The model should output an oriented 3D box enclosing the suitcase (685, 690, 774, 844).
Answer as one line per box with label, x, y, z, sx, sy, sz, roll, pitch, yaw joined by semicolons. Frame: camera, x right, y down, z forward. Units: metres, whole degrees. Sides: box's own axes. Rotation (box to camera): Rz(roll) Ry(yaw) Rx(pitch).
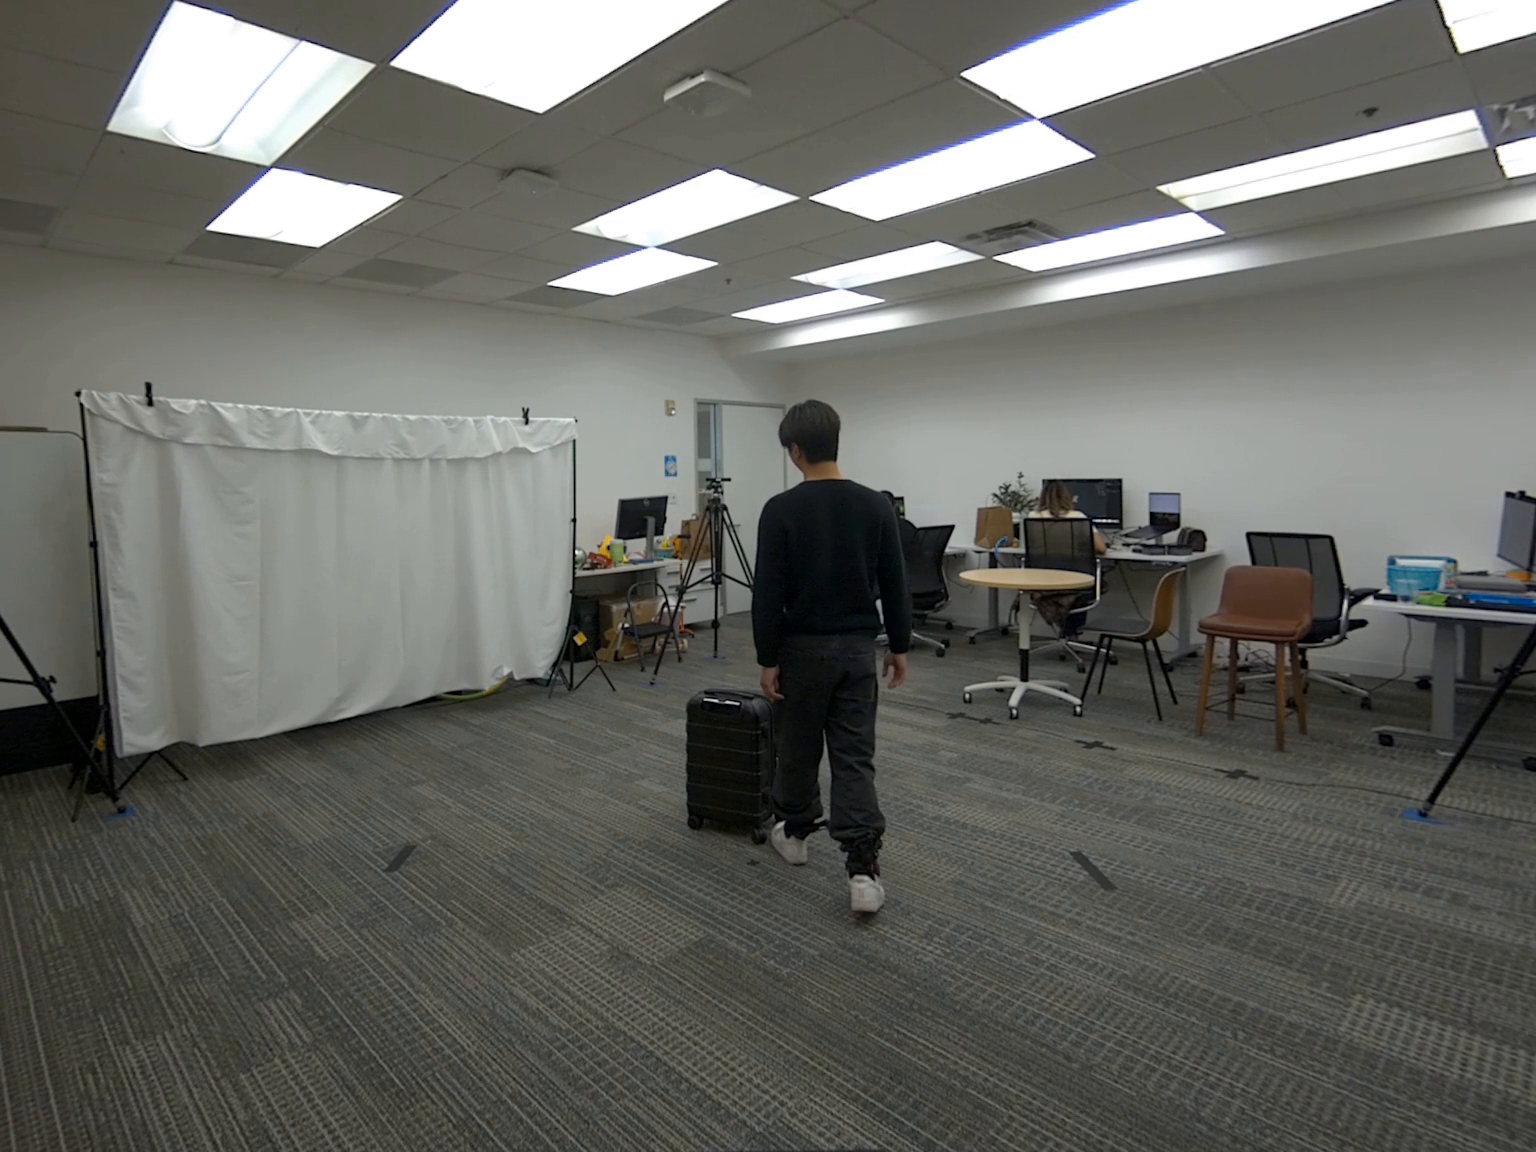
suitcase;-0.137;0.730;3.447;0.384;0.548;0.243;0;3;26
